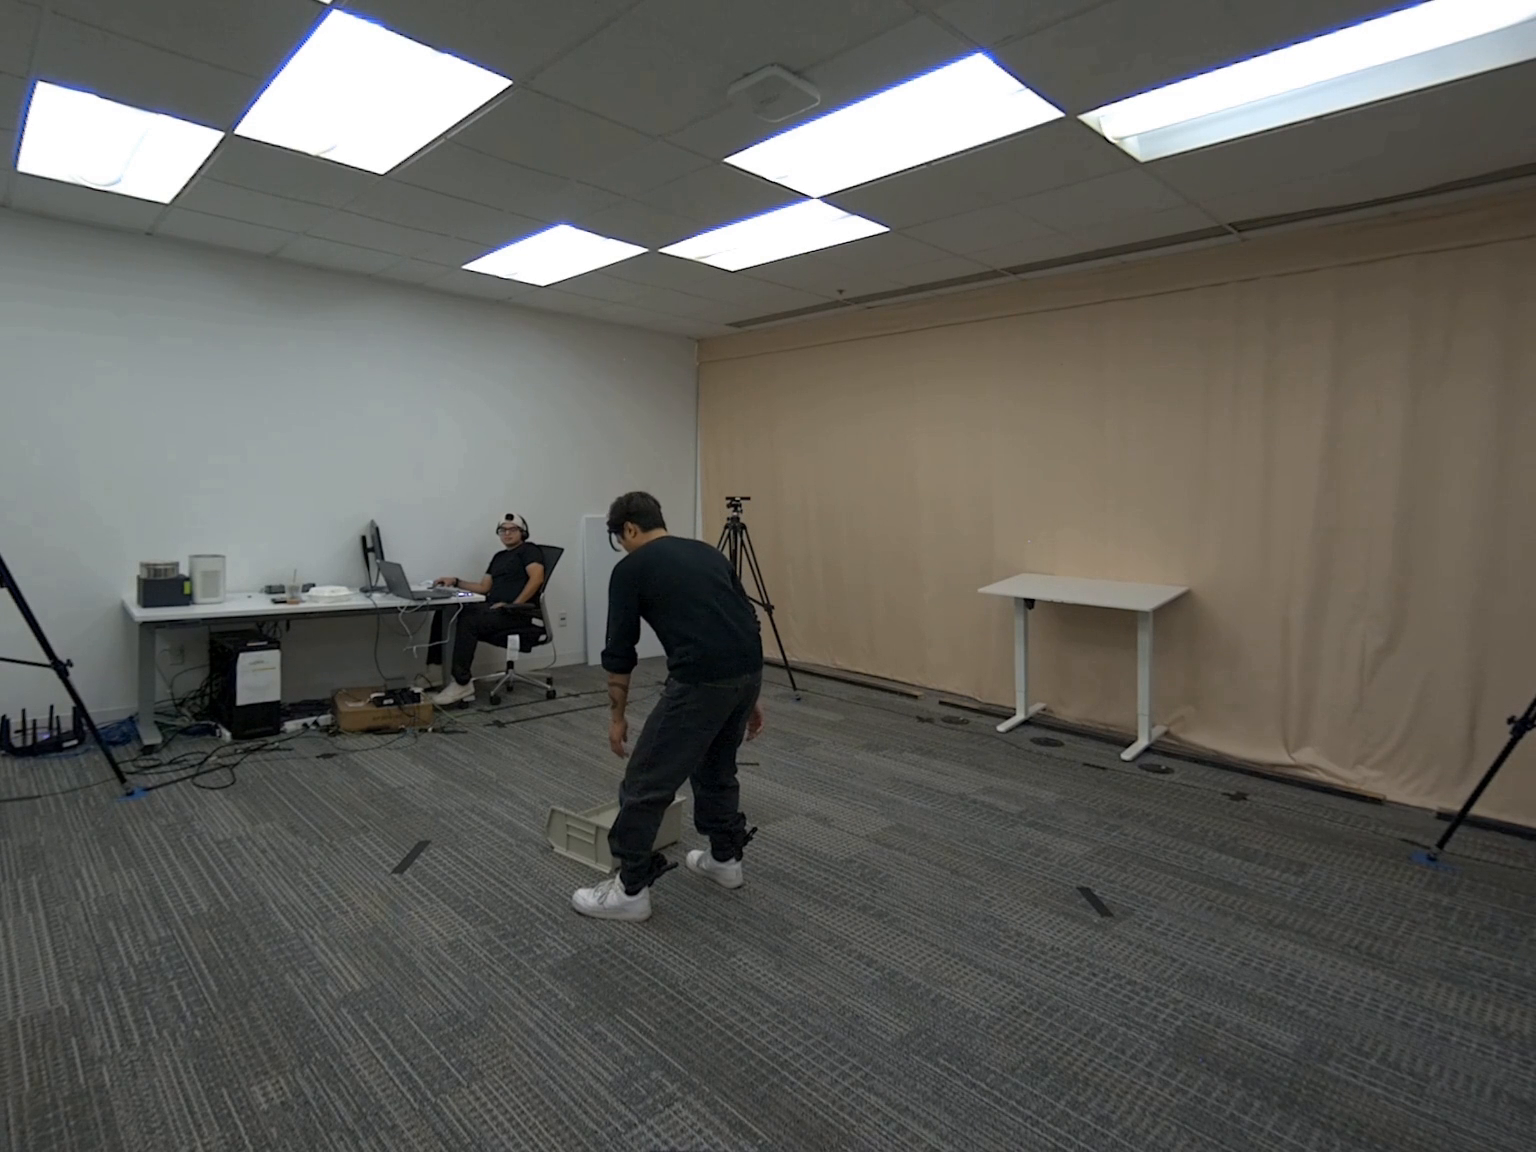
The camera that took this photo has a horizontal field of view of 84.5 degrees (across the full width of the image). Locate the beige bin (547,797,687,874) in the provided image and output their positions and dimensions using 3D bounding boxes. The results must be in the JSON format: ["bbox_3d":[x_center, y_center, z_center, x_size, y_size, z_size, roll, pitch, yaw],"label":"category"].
[{"bbox_3d":[-0.614,0.986,3.362,0.387,0.188,0.413,6,7,37],"label":"beige bin"}]
